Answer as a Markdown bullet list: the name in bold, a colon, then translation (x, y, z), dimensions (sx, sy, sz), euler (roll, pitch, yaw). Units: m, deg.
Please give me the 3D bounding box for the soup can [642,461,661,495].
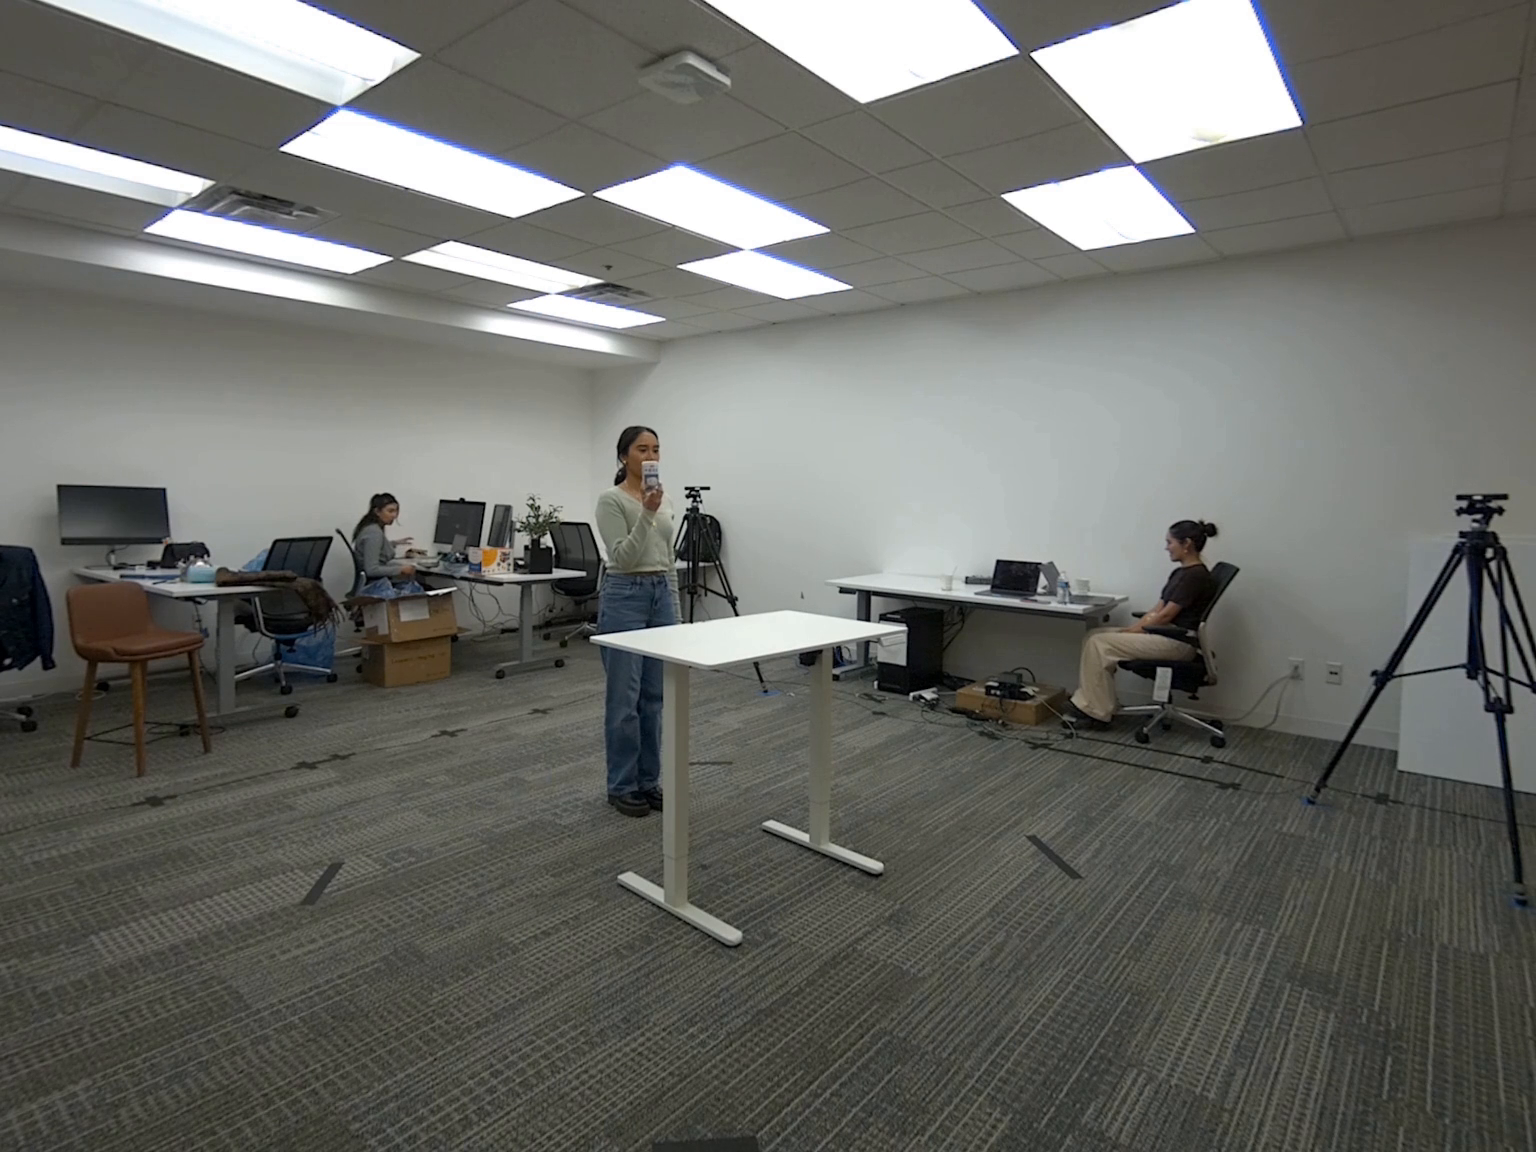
- **soup can**: translation (-0.480, -0.406, 3.421), dimensions (0.067, 0.121, 0.067), euler (0, 1, -2)
